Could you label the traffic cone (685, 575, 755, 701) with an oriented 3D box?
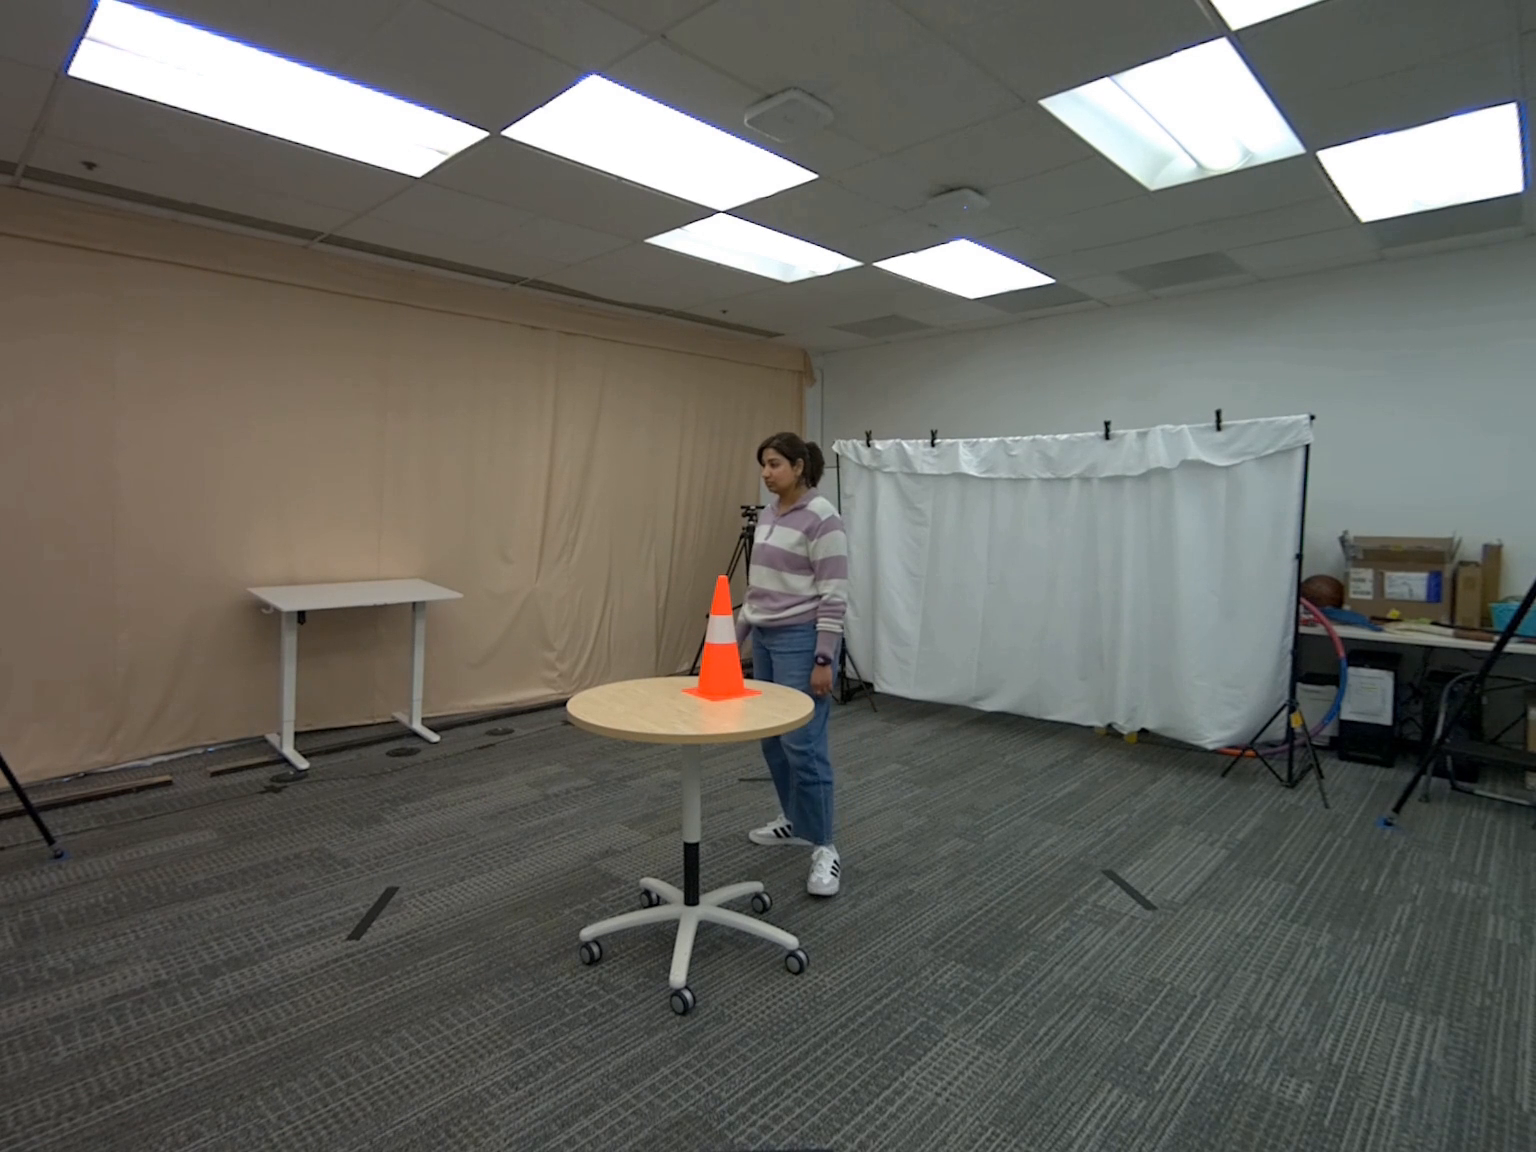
[{"bbox_3d":[-0.153,0.194,2.745,0.197,0.383,0.212,-2,3,-44],"label":"traffic cone"}]
